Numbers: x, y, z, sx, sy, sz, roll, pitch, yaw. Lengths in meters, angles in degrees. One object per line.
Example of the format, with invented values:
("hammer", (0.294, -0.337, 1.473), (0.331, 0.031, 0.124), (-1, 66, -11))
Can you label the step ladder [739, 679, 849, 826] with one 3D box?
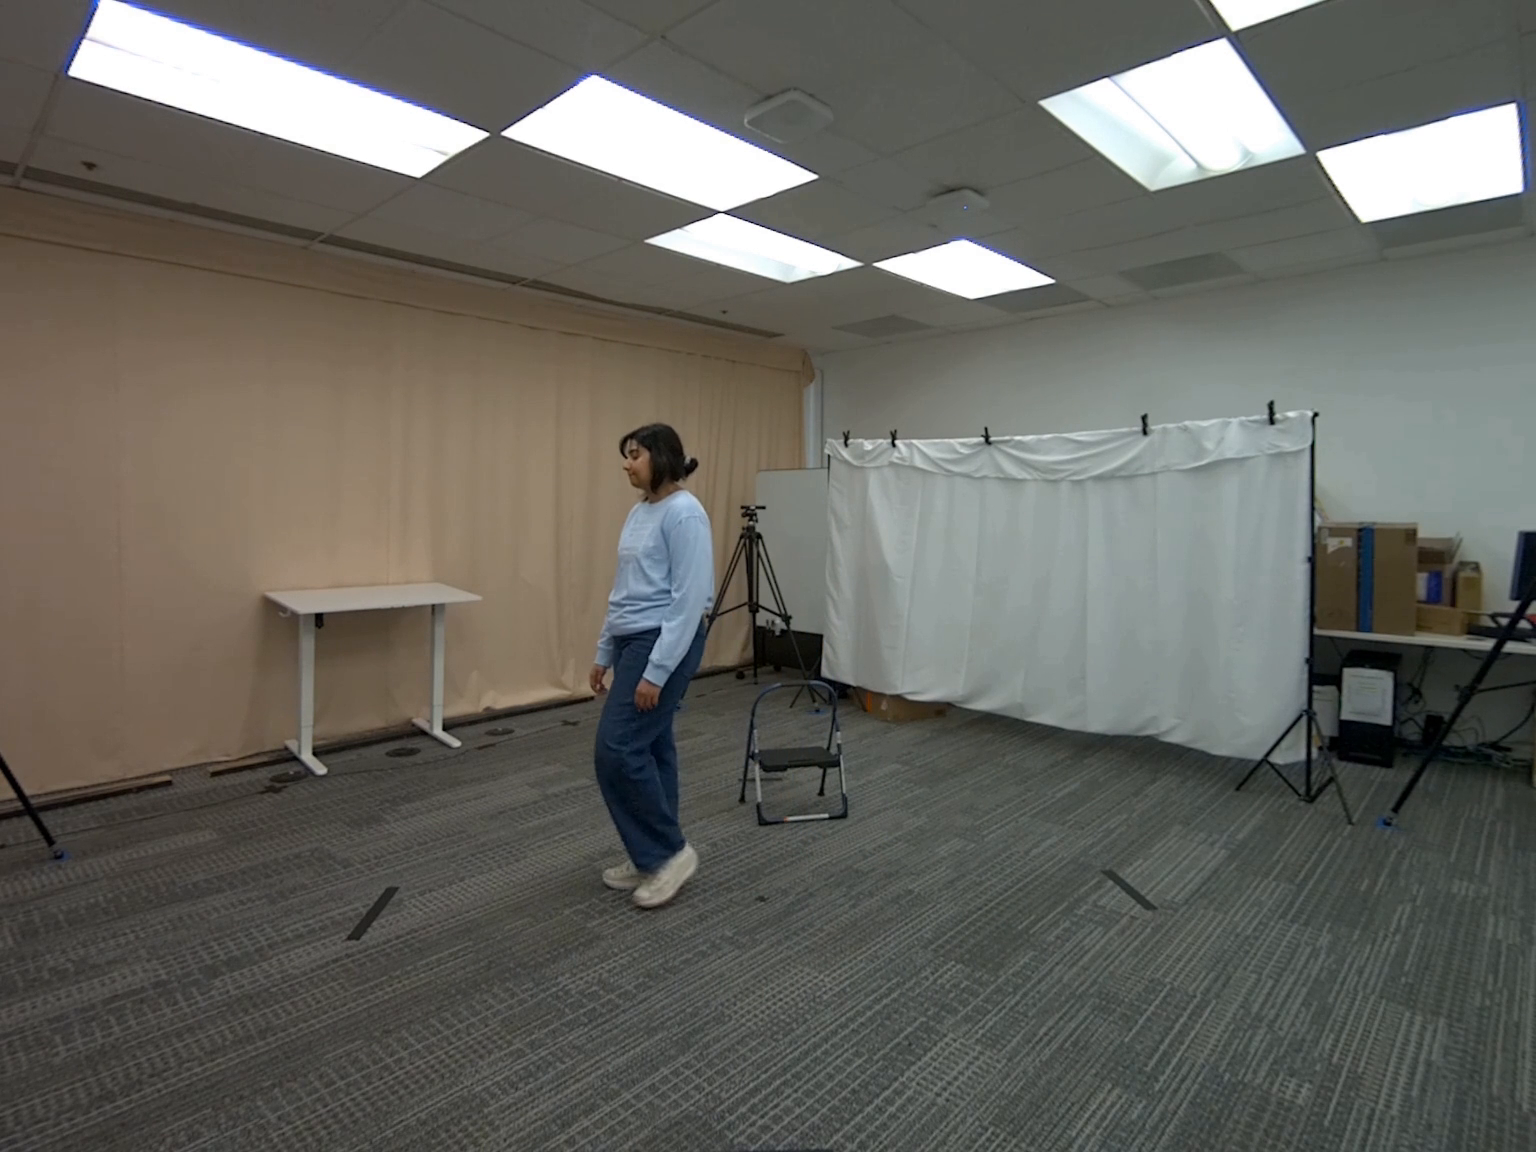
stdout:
("step ladder", (0.113, 0.771, 3.856), (0.424, 0.605, 0.355), (-1, 2, -15))
